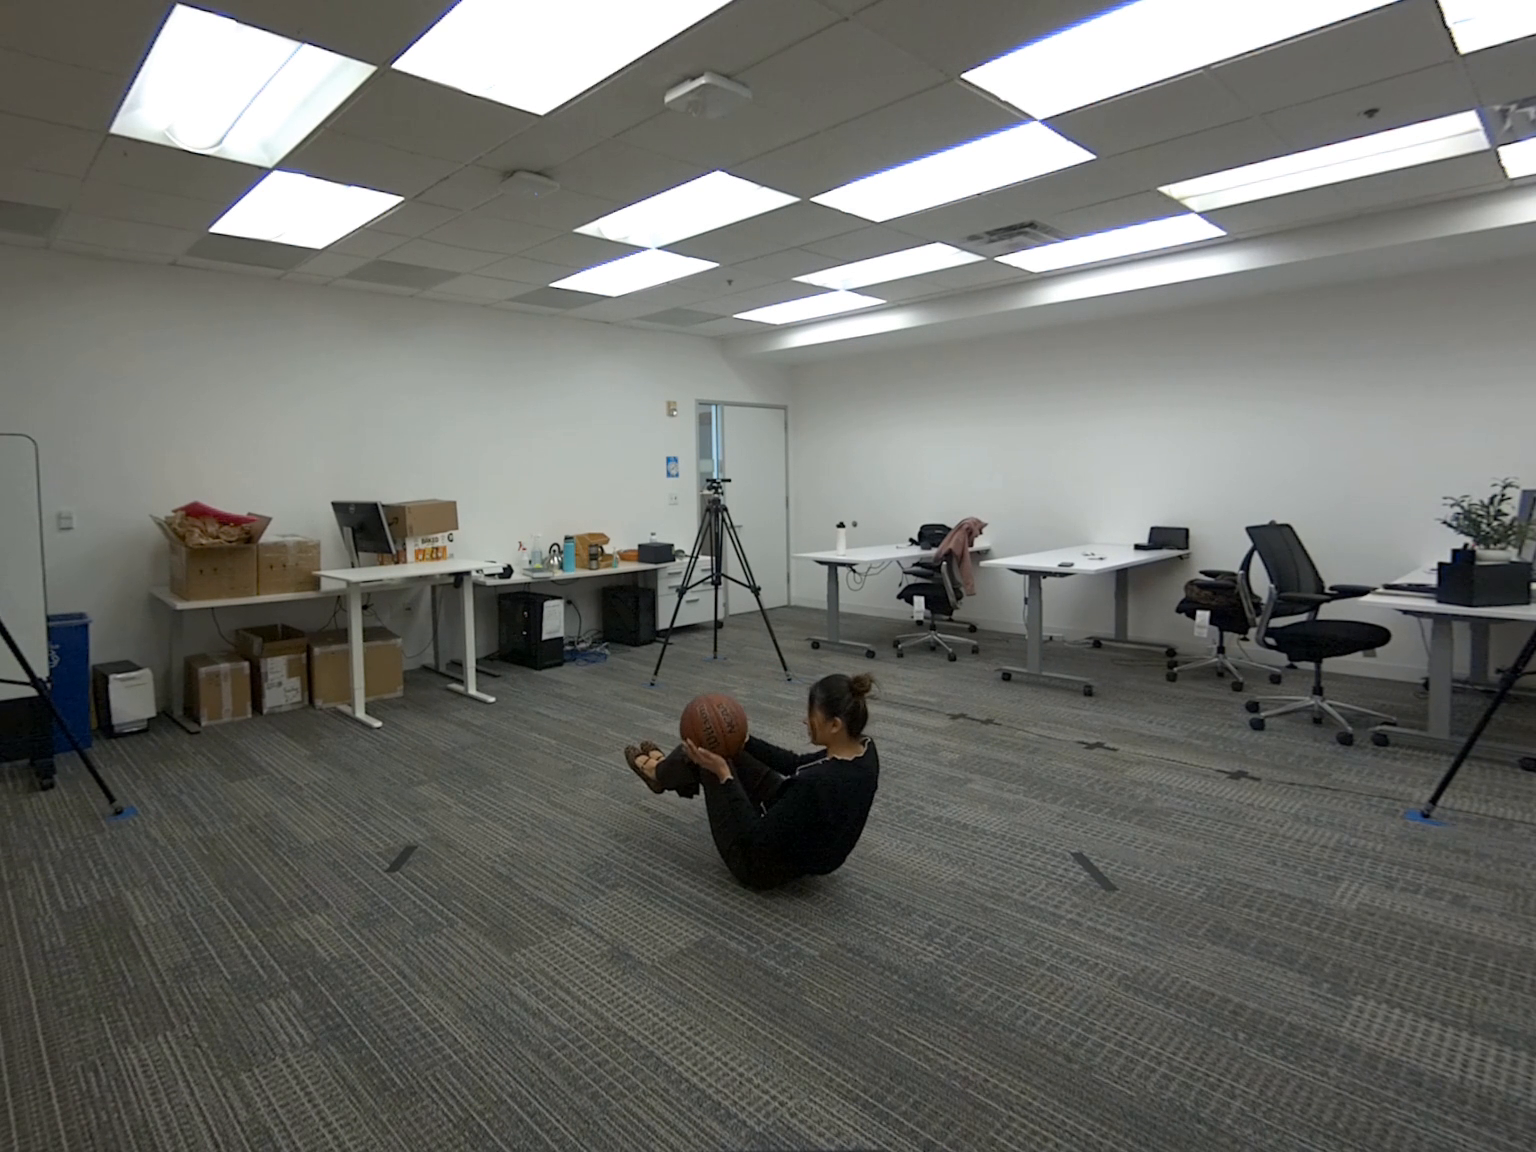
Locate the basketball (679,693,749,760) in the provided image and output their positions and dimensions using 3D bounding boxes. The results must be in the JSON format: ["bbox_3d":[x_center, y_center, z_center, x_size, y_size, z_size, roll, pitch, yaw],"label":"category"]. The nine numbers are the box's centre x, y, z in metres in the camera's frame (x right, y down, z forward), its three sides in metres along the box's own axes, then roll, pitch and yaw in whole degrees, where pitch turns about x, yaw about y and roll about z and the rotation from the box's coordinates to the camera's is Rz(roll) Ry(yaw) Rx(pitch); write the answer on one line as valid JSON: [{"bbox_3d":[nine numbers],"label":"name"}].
[{"bbox_3d":[-0.174,0.526,2.952,0.236,0.235,0.237,-1,5,-2],"label":"basketball"}]
